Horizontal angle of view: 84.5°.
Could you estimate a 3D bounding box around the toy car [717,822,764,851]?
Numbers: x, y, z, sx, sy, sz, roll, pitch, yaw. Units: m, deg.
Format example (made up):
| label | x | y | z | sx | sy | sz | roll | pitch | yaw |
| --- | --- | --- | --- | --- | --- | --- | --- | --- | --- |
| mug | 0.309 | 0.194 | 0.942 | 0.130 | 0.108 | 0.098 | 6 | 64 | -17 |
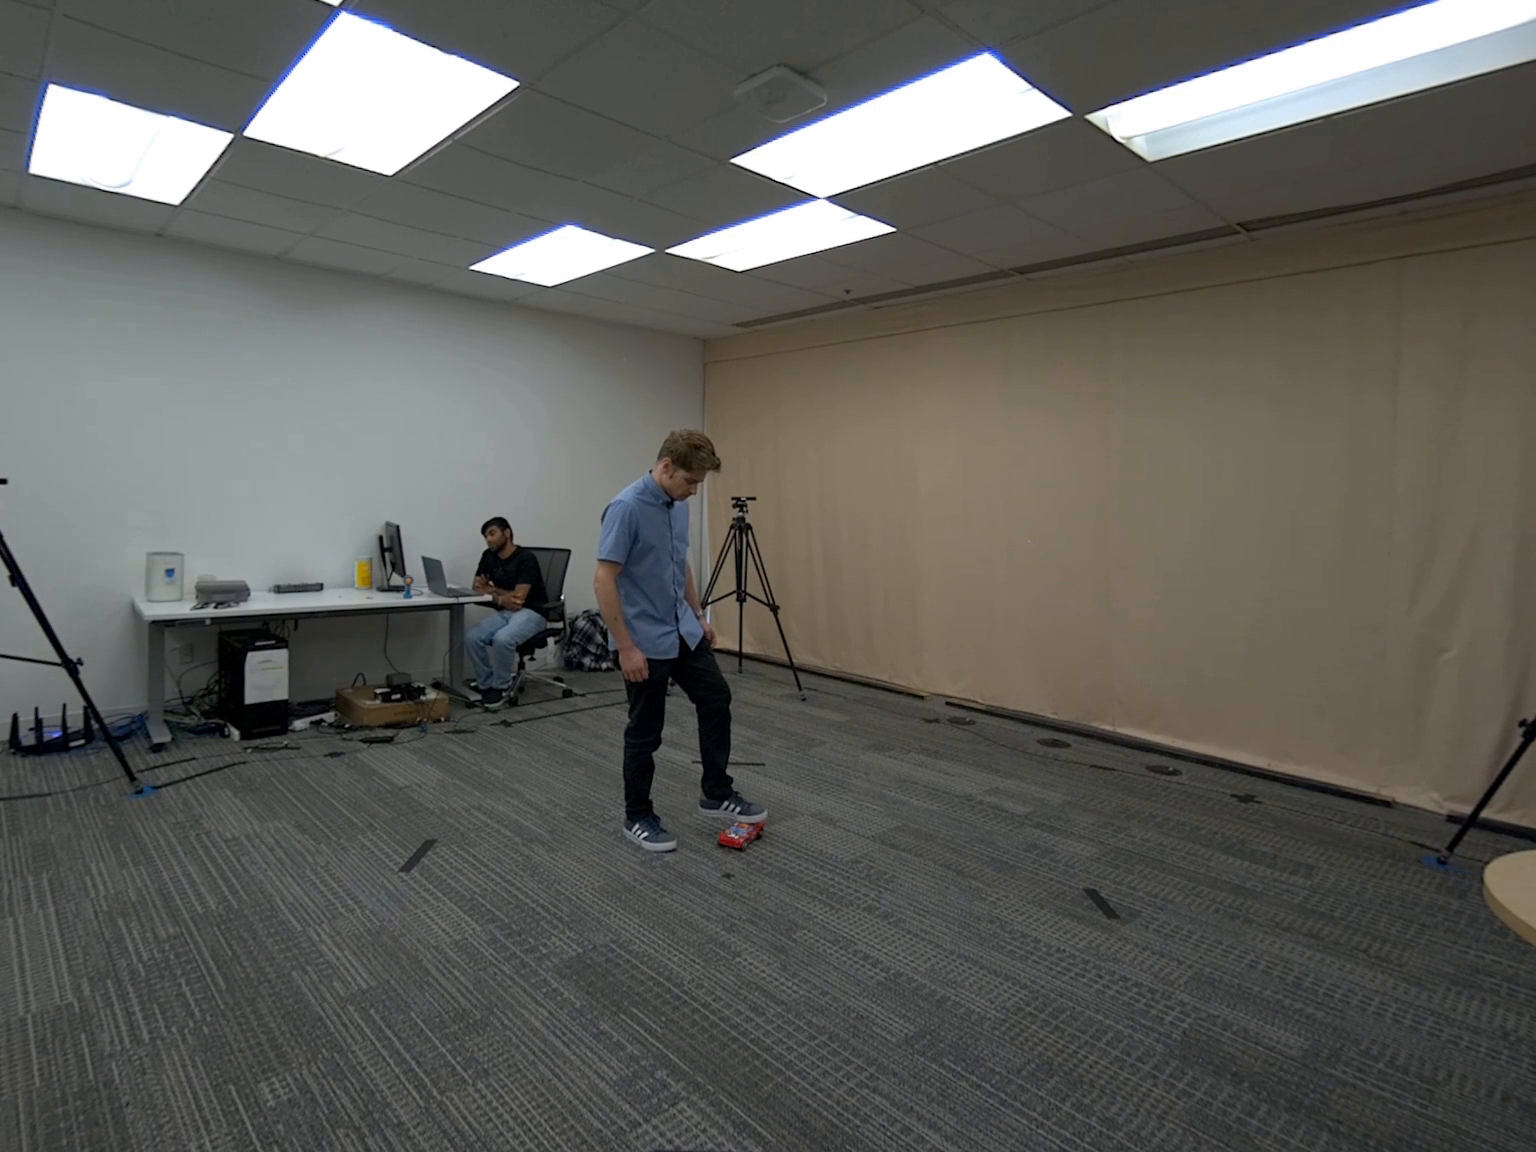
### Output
| label | x | y | z | sx | sy | sz | roll | pitch | yaw |
| --- | --- | --- | --- | --- | --- | --- | --- | --- | --- |
| toy car | -0.107 | 1.050 | 3.424 | 0.133 | 0.082 | 0.252 | 3 | 14 | 27 |
